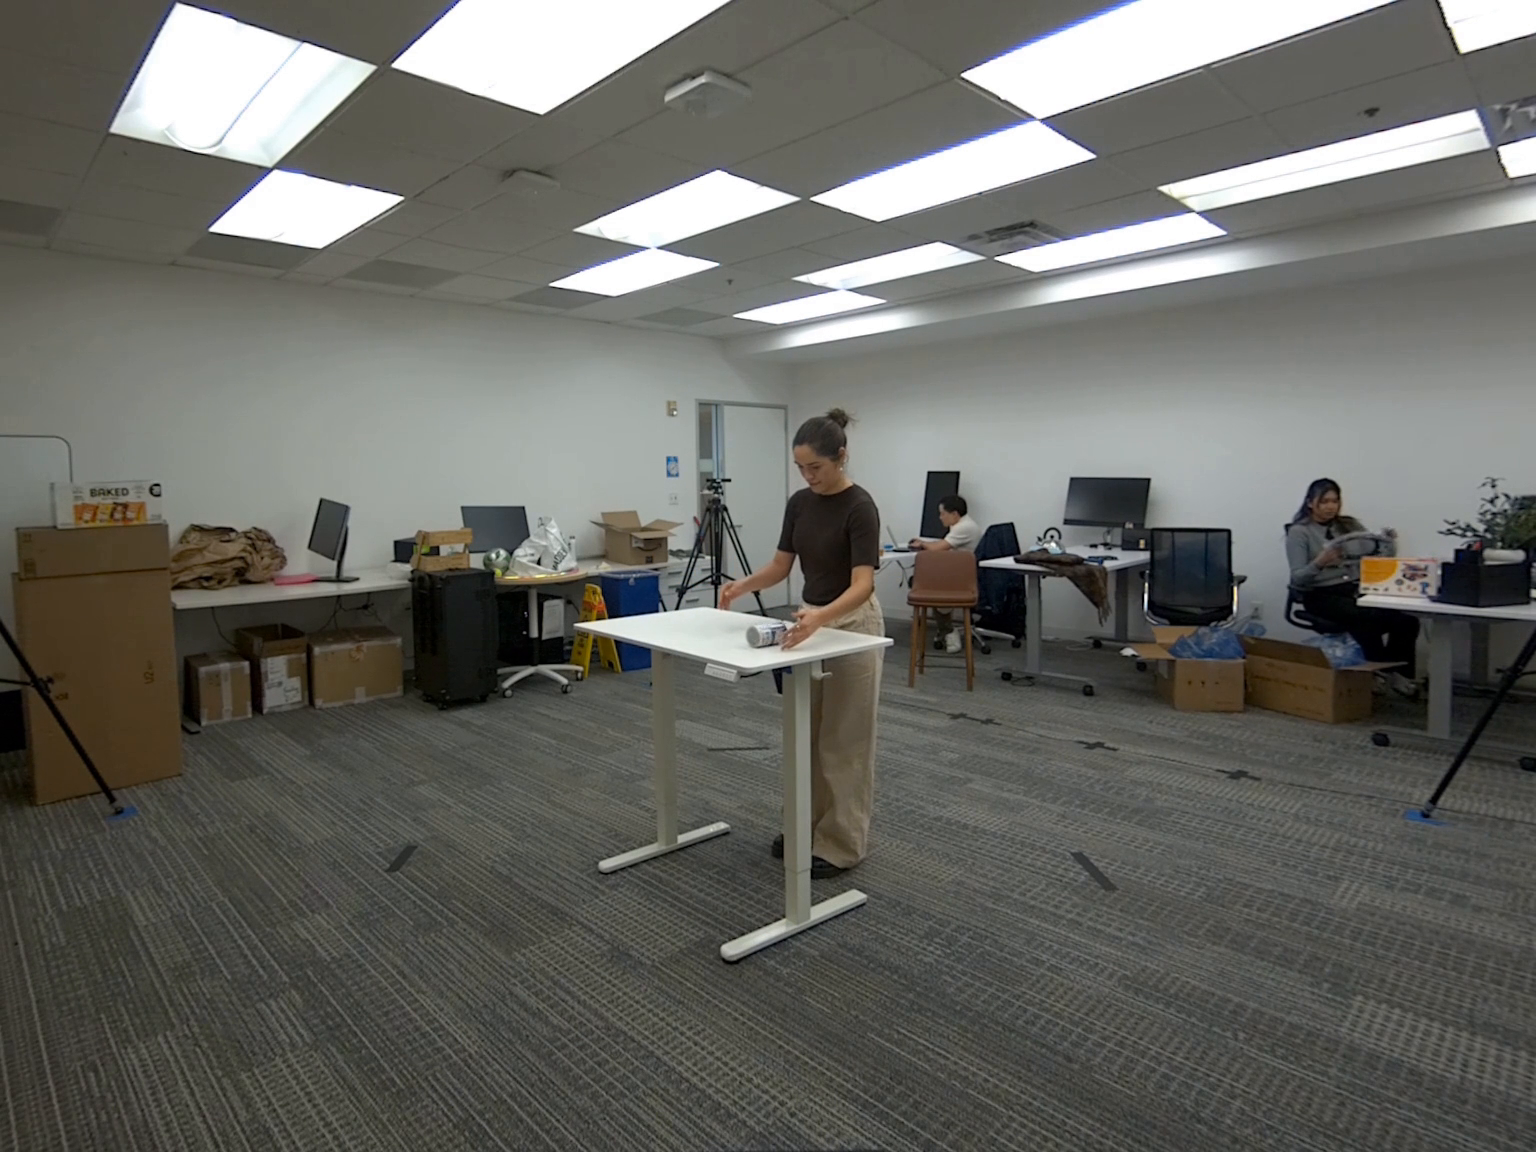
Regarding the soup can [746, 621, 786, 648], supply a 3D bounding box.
[{"bbox_3d":[-0.001,0.181,2.624,0.118,0.067,0.069,-6,7,-39],"label":"soup can"}]
